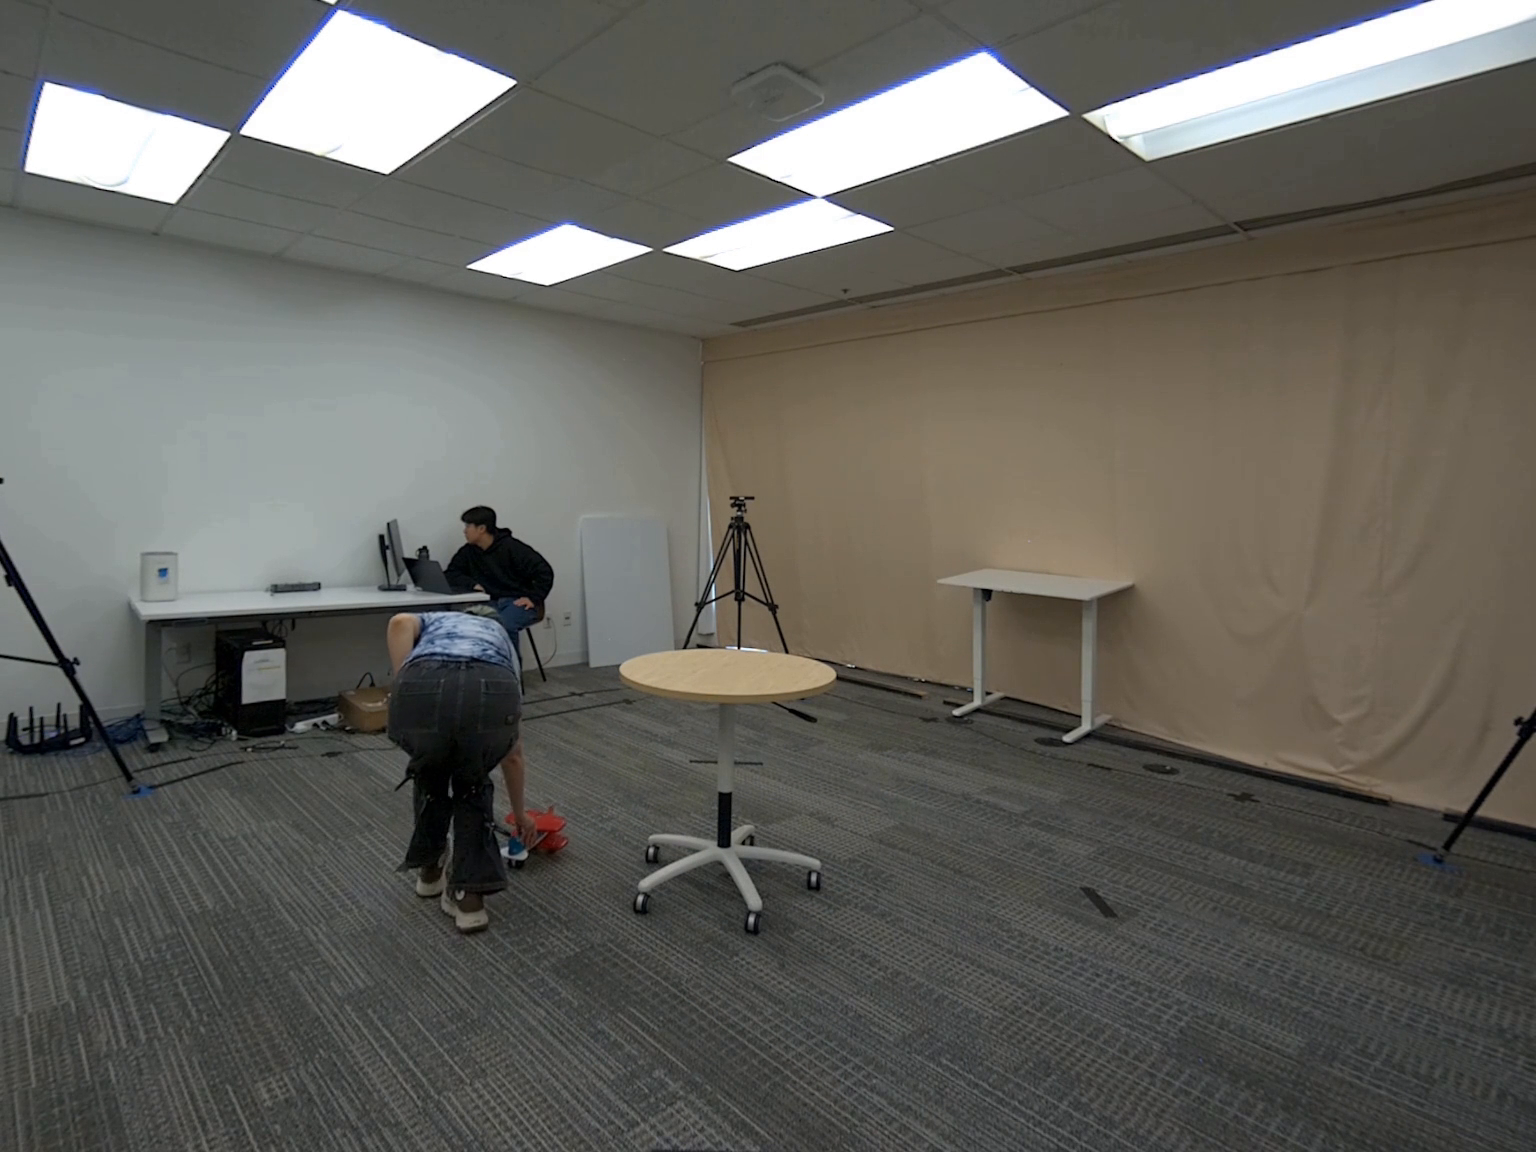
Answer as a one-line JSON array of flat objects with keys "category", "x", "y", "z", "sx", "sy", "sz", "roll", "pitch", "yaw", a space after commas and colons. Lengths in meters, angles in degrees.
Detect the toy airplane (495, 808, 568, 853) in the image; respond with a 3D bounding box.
[{"category": "toy airplane", "x": -0.897, "y": 1.011, "z": 3.201, "sx": 0.249, "sy": 0.156, "sz": 0.262, "roll": 0, "pitch": 6, "yaw": -8}]
